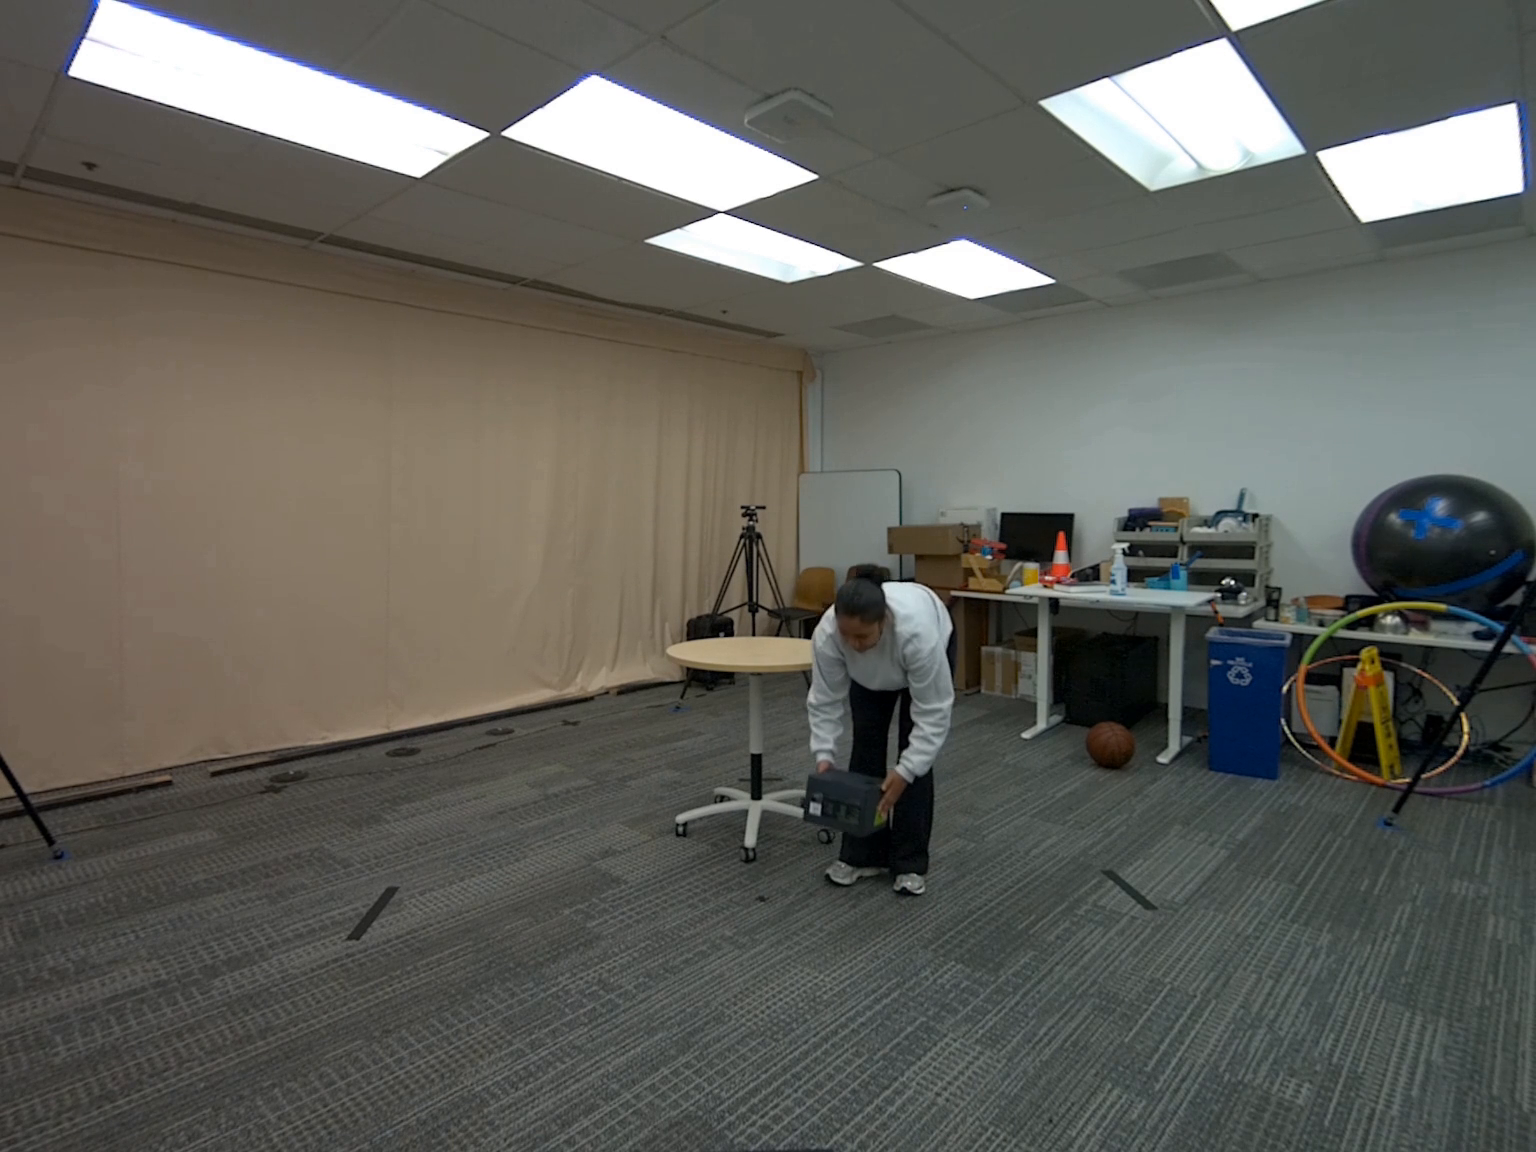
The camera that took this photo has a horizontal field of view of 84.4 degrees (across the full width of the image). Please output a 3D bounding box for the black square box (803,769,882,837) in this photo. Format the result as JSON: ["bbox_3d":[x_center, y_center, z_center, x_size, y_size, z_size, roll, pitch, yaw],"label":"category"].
[{"bbox_3d":[0.277,0.751,2.858,0.223,0.156,0.221,5,-4,30],"label":"black square box"}]
